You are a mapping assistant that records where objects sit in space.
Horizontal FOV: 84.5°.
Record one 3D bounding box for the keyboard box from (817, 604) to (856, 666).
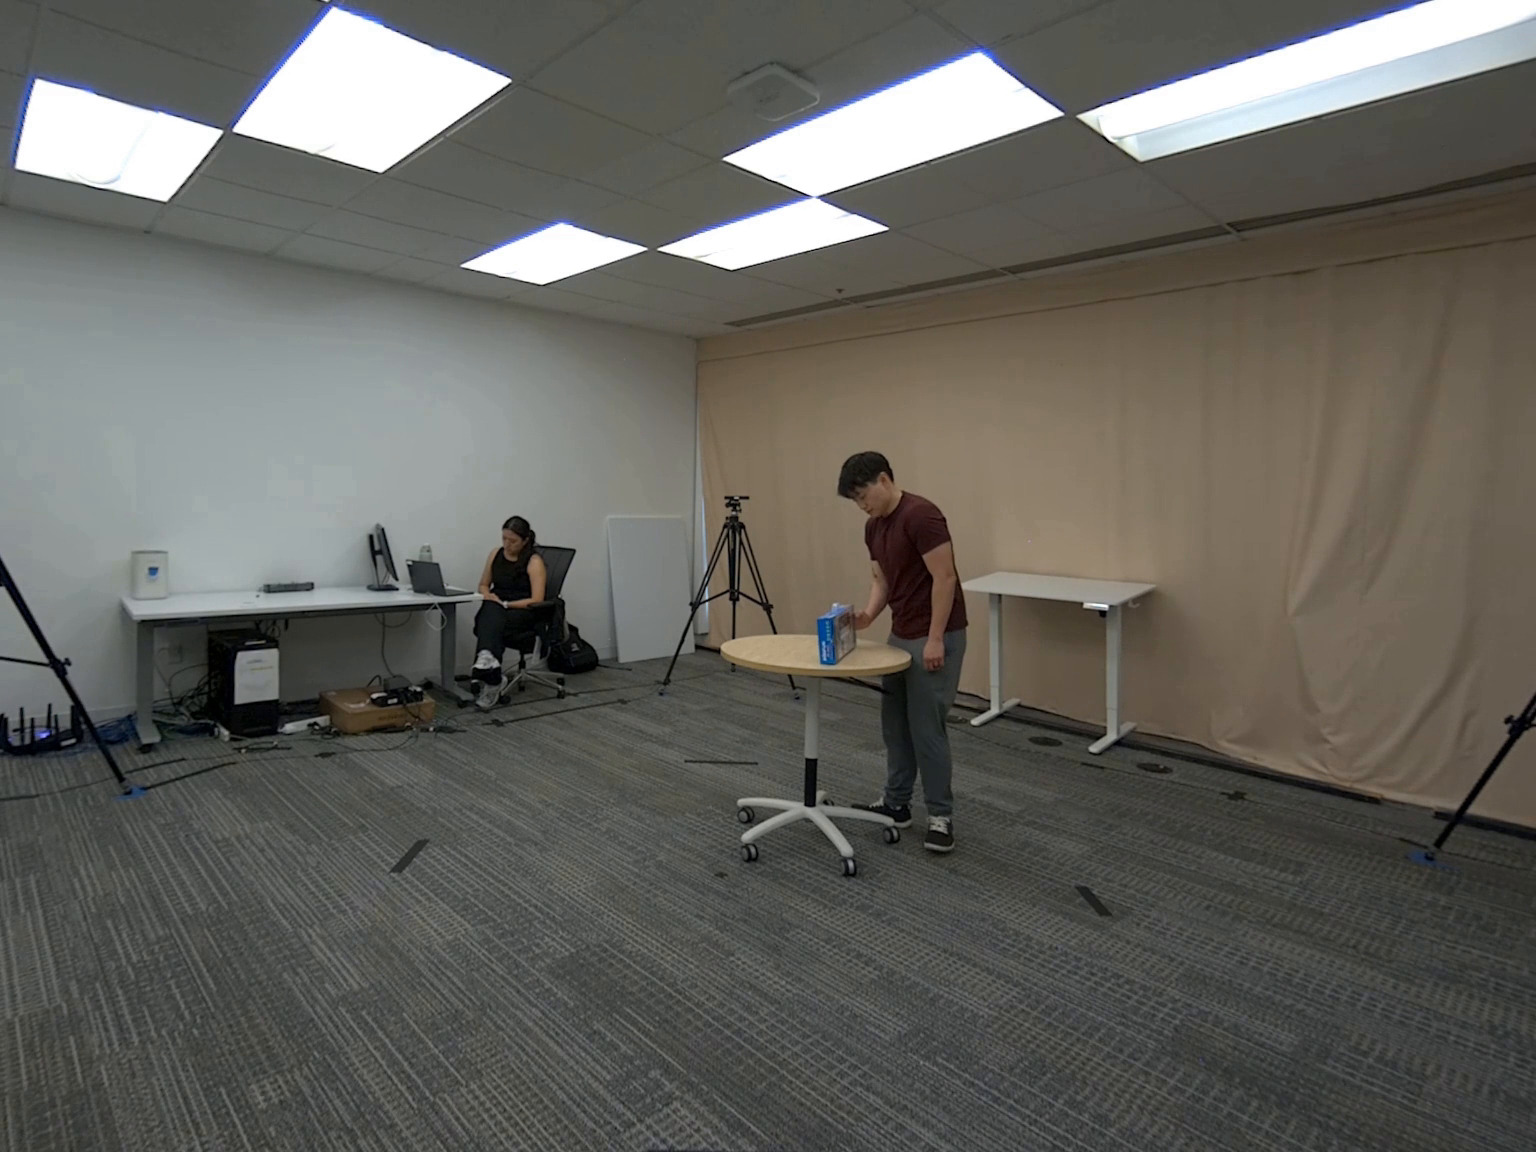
[{"bbox_3d":[0.270,0.225,3.325,0.060,0.175,0.432,-4,4,19],"label":"keyboard box"}]
